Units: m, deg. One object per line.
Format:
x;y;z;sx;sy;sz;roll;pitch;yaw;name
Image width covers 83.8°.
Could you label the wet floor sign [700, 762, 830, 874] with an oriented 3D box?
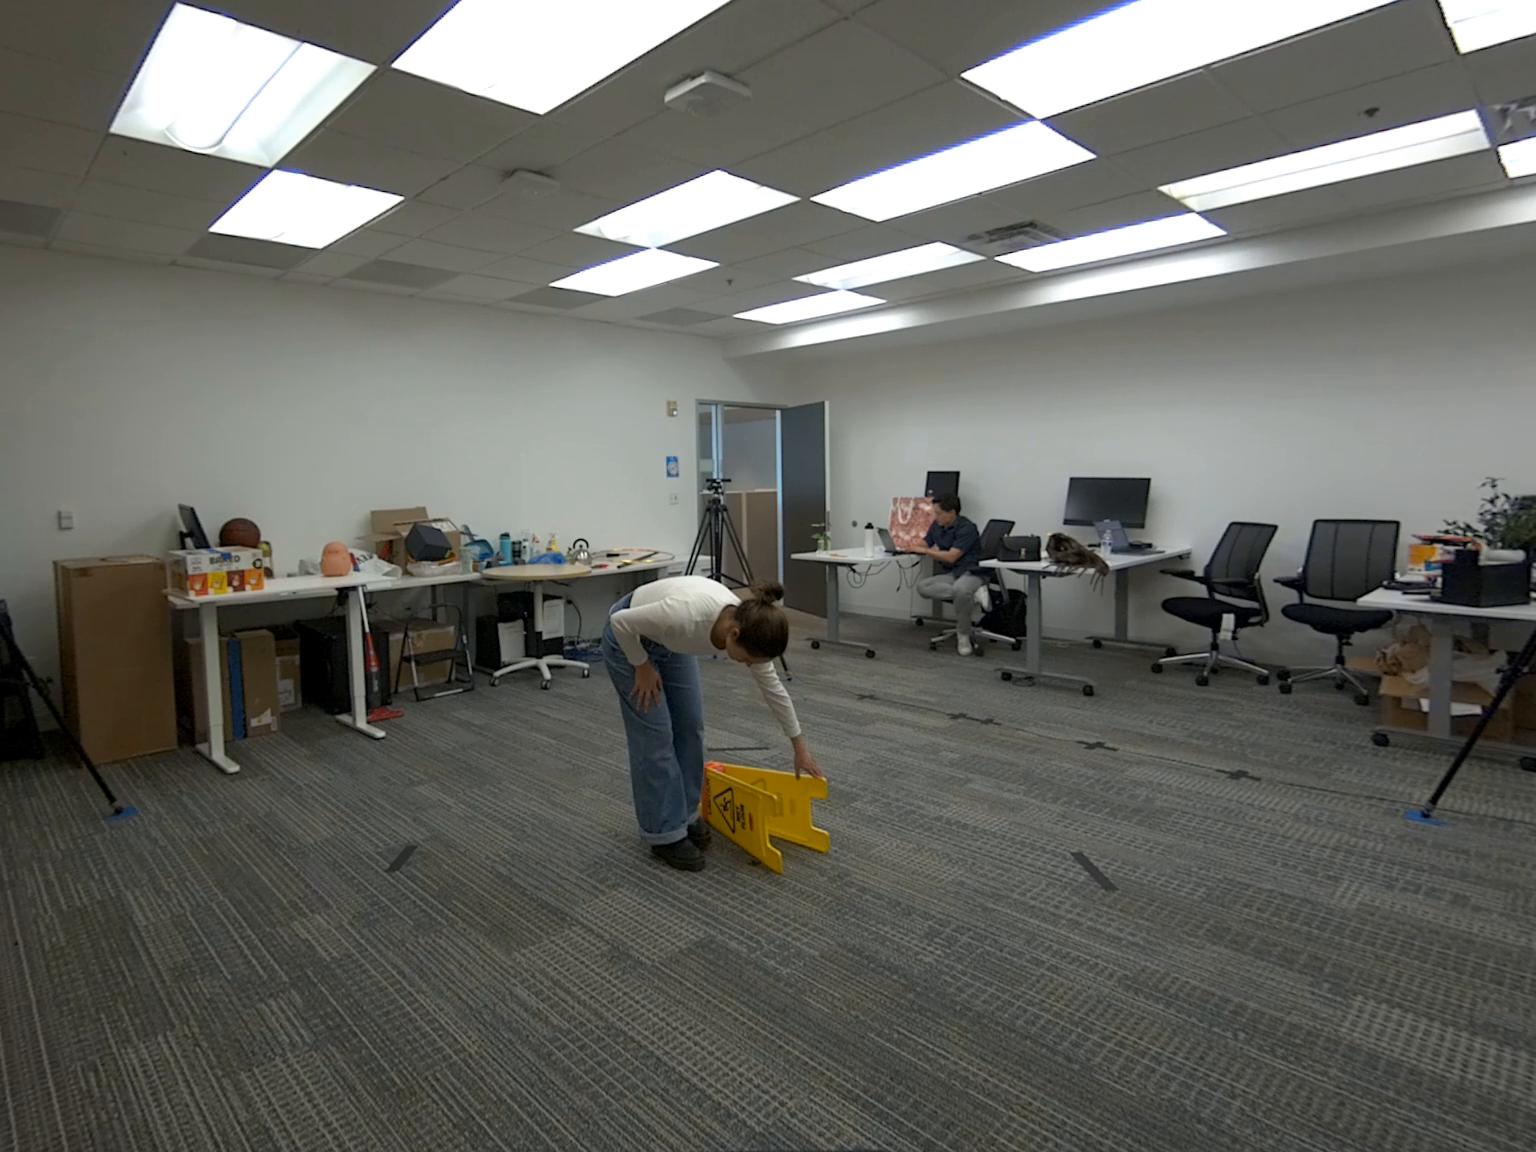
-0.099;0.889;3.334;0.282;0.281;0.665;-4;5;-43;wet floor sign
